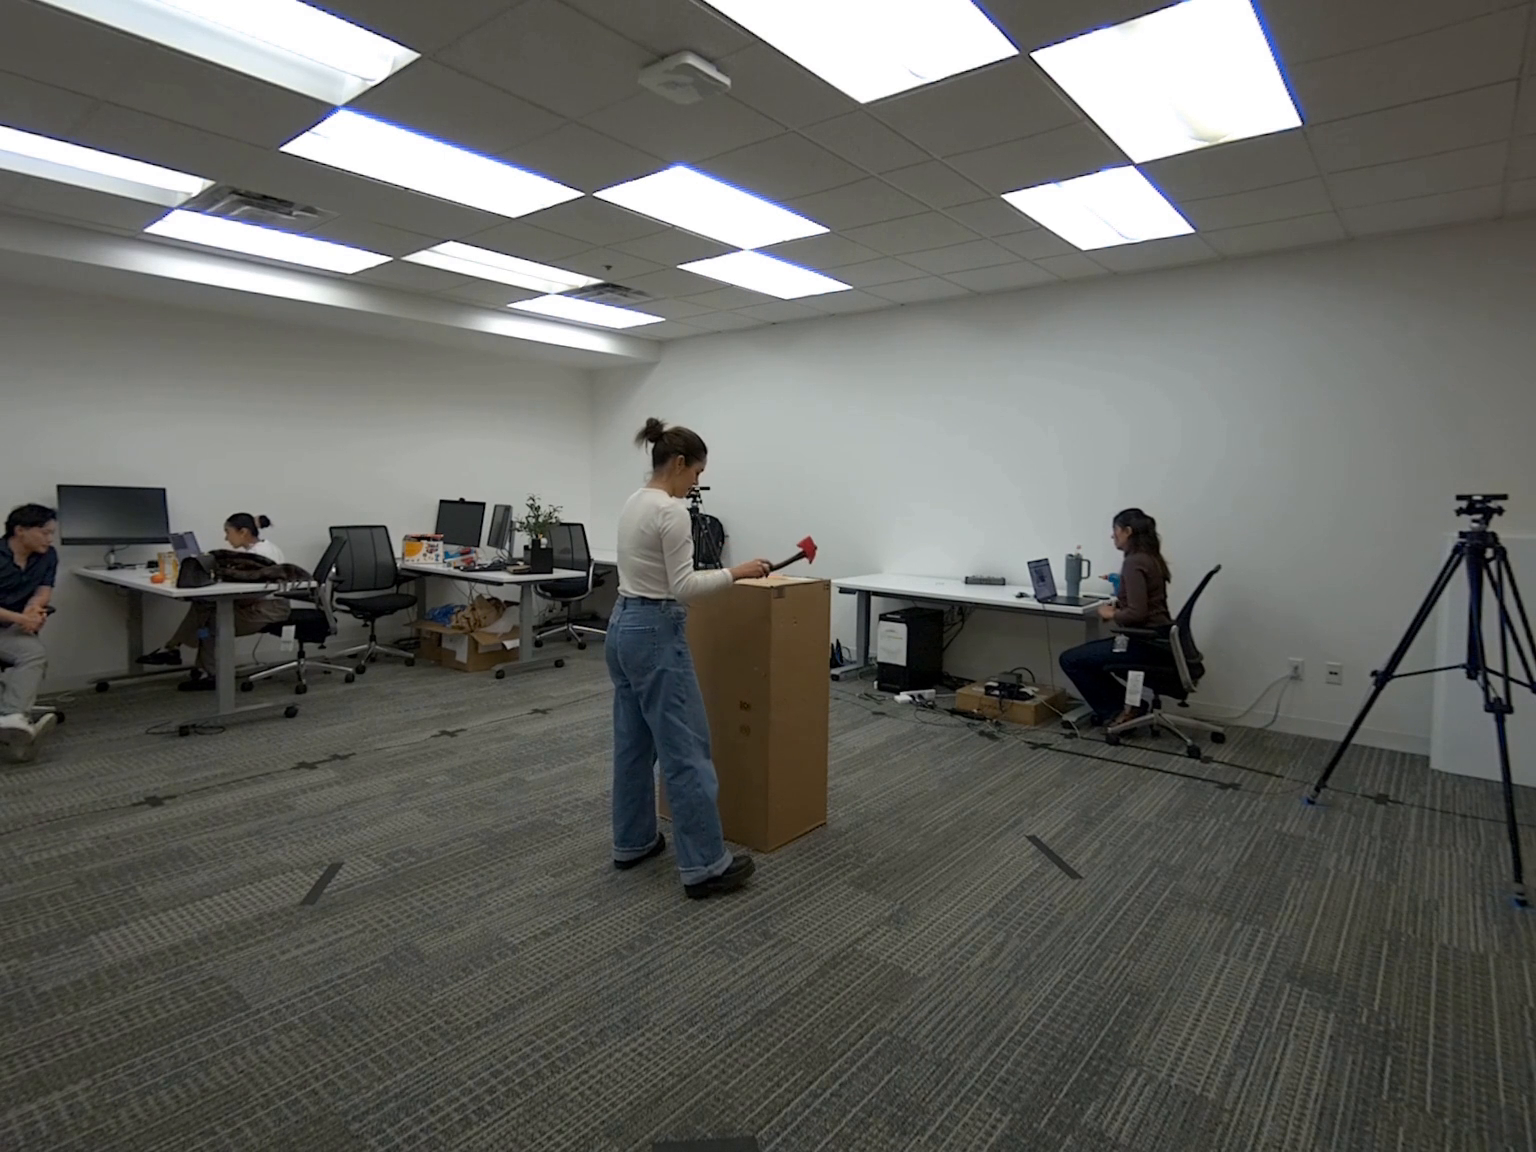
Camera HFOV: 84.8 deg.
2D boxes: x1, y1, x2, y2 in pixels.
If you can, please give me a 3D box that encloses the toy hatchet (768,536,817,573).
[{"bbox_3d":[0.059,-0.074,3.063,0.264,0.128,0.031,-9,38,-27],"label":"toy hatchet"}]
